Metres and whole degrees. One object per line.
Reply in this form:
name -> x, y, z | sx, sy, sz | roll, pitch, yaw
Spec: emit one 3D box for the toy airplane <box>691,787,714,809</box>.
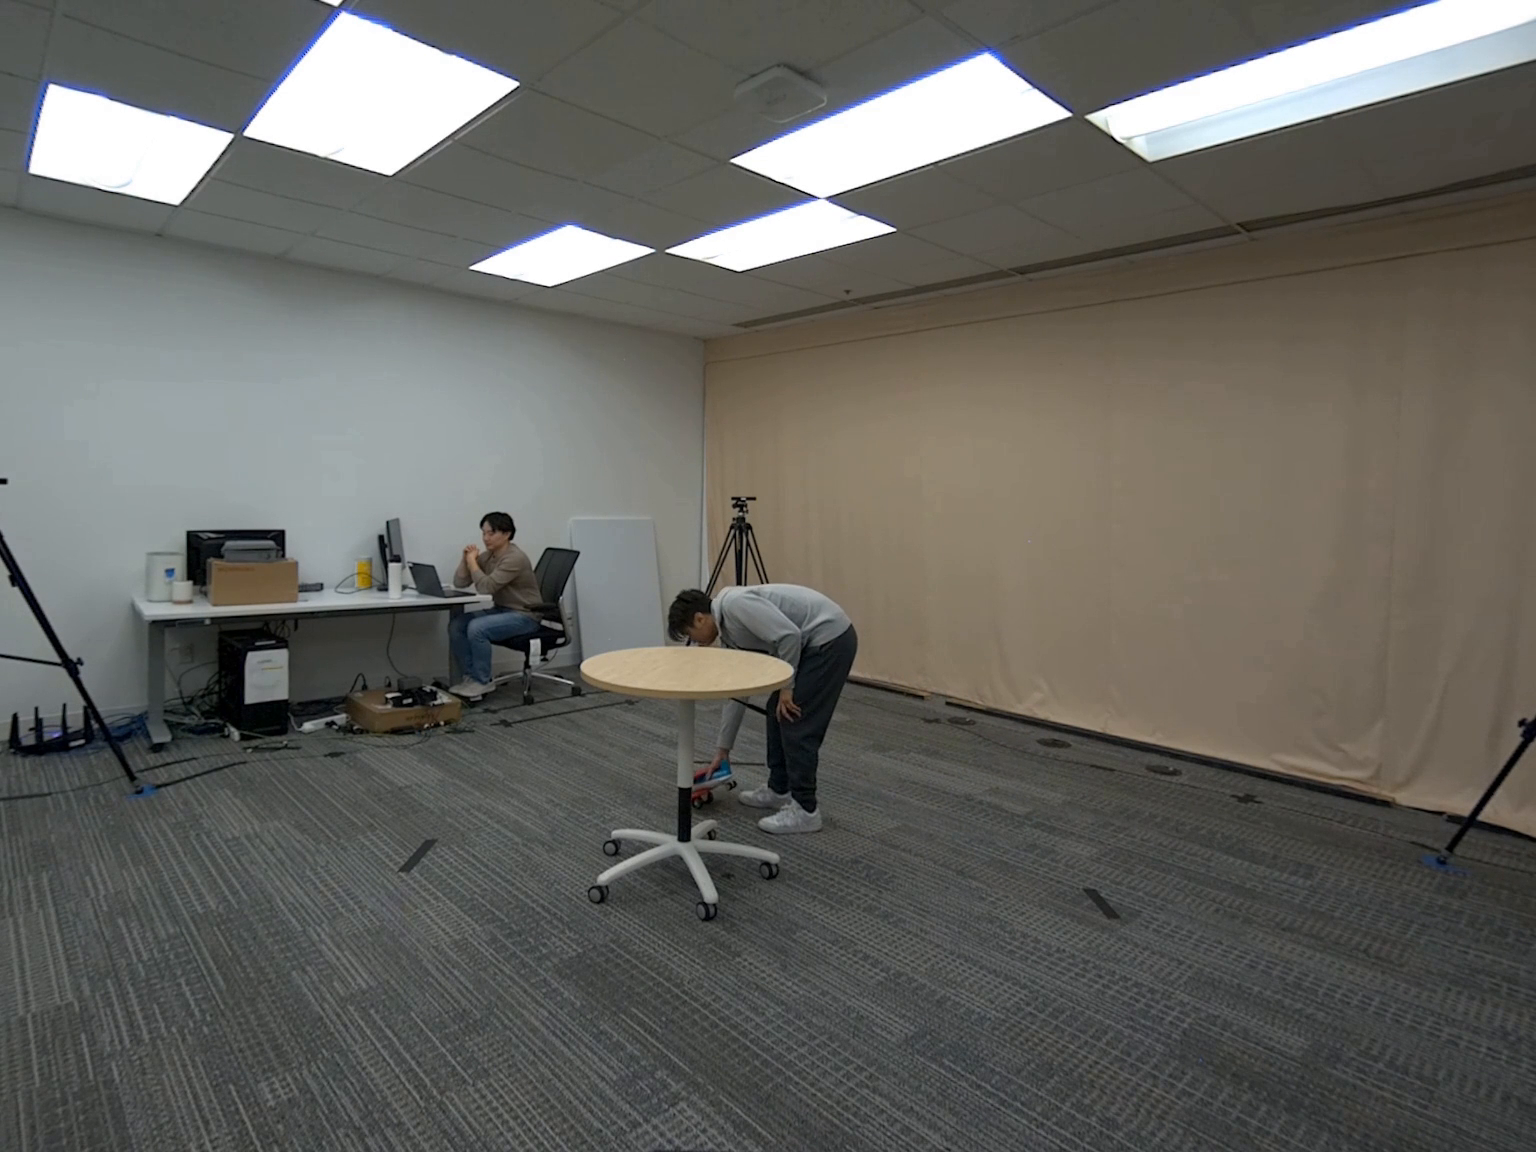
toy airplane -> -0.259, 0.935, 3.812 | 0.259, 0.158, 0.248 | -31, -12, -4
